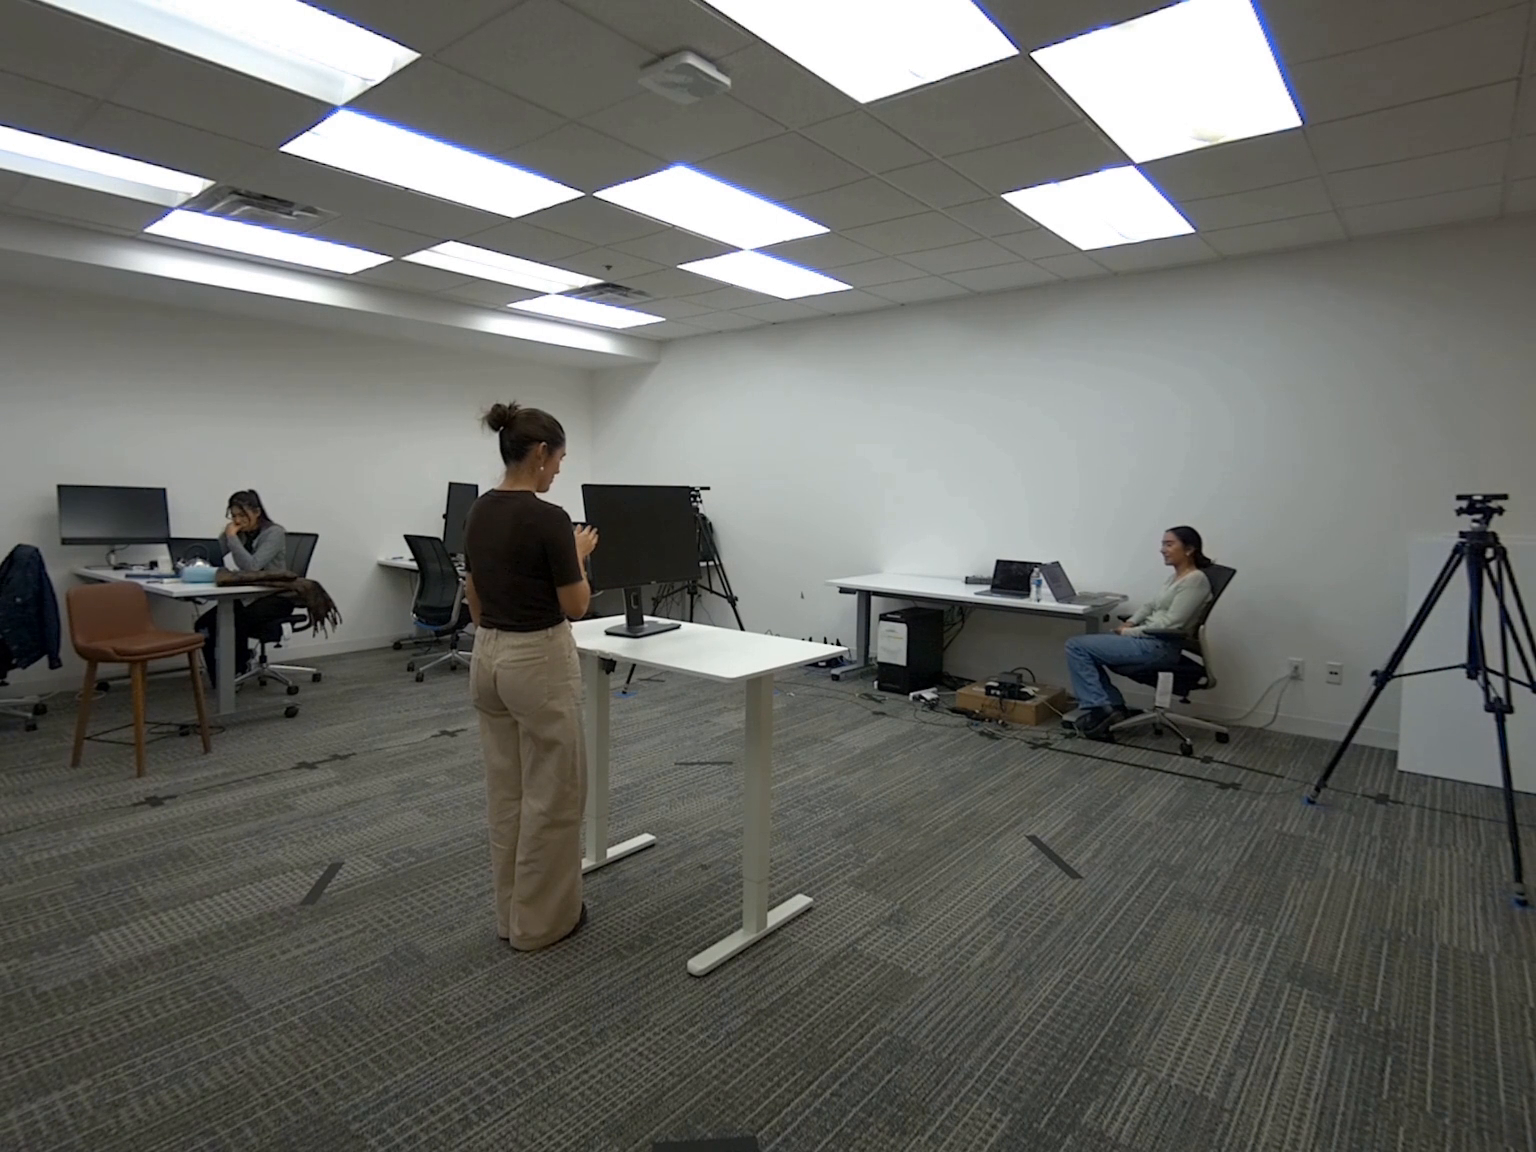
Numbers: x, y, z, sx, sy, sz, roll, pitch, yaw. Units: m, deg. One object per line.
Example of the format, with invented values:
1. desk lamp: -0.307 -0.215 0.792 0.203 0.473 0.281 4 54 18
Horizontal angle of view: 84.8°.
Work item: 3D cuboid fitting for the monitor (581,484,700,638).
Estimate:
1. monitor: -0.456 -0.060 2.981 0.193 0.520 0.523 5 6 38
